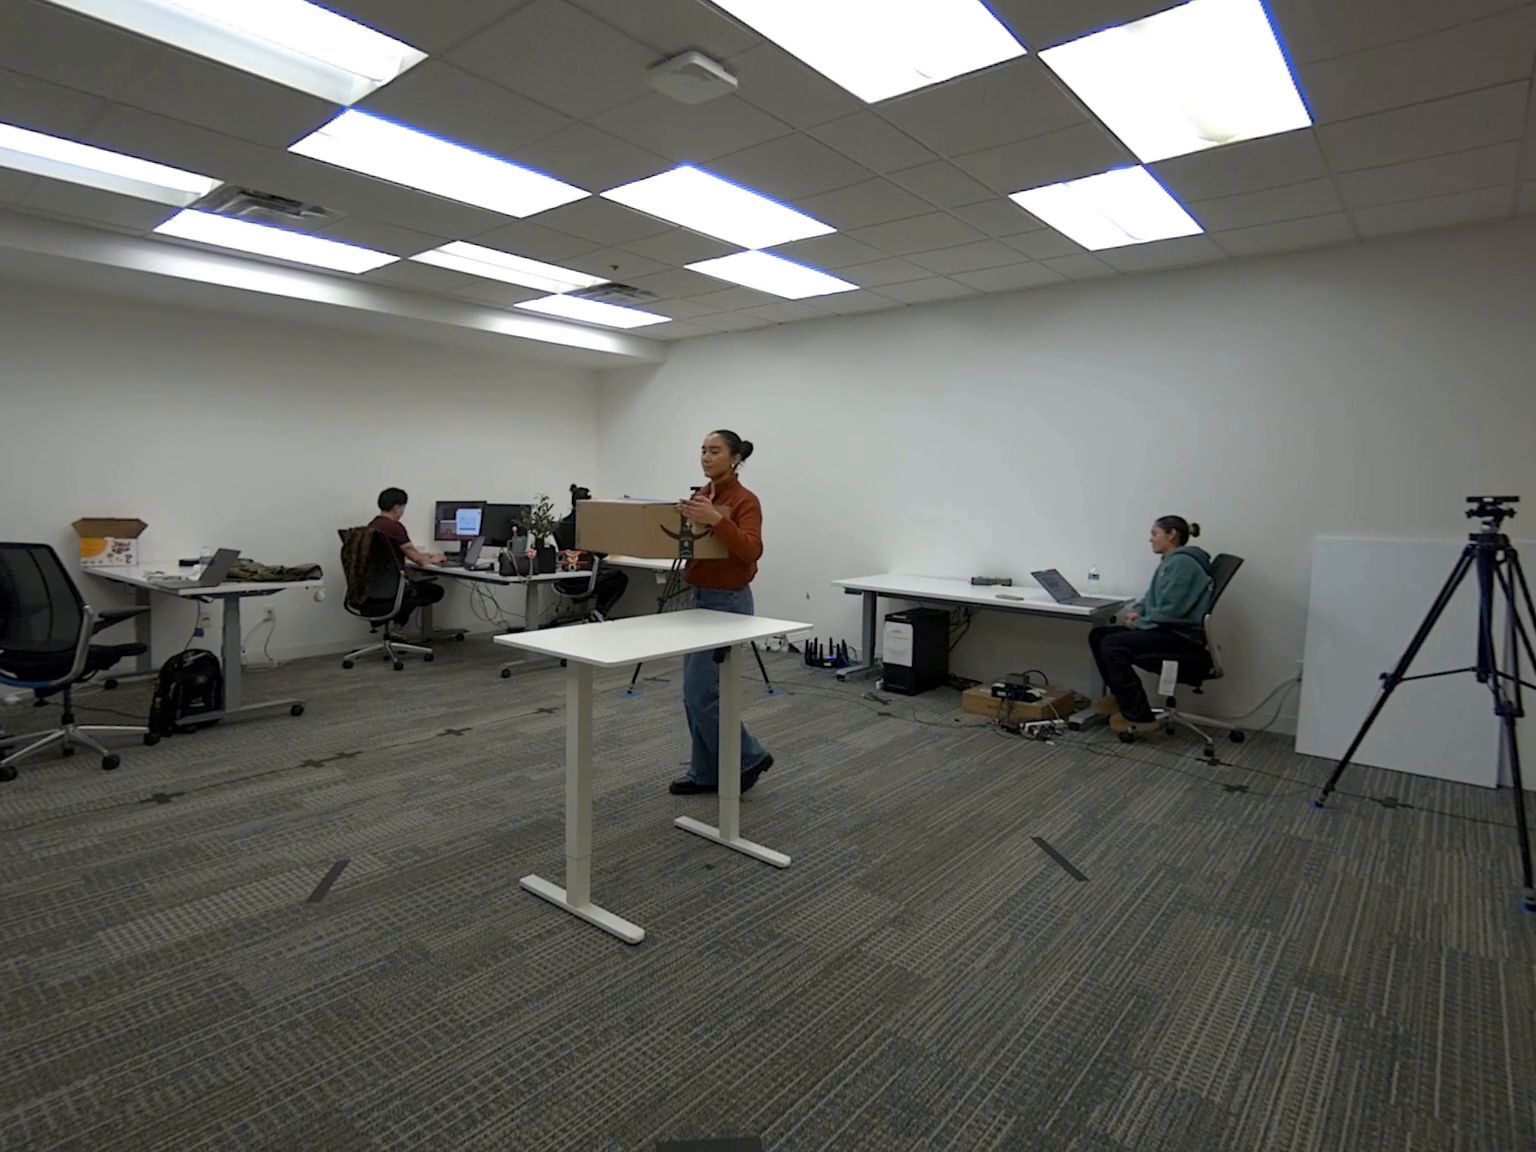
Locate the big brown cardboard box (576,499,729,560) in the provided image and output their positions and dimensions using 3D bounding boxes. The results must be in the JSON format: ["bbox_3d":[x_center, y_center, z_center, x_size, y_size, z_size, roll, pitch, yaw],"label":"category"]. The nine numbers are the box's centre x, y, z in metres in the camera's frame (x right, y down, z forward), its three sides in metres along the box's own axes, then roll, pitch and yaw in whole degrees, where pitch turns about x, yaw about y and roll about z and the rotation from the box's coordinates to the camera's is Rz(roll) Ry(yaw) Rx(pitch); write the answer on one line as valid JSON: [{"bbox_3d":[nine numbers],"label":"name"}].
[{"bbox_3d":[-0.510,-0.207,3.604,0.405,0.232,0.610,-2,8,-38],"label":"big brown cardboard box"}]
